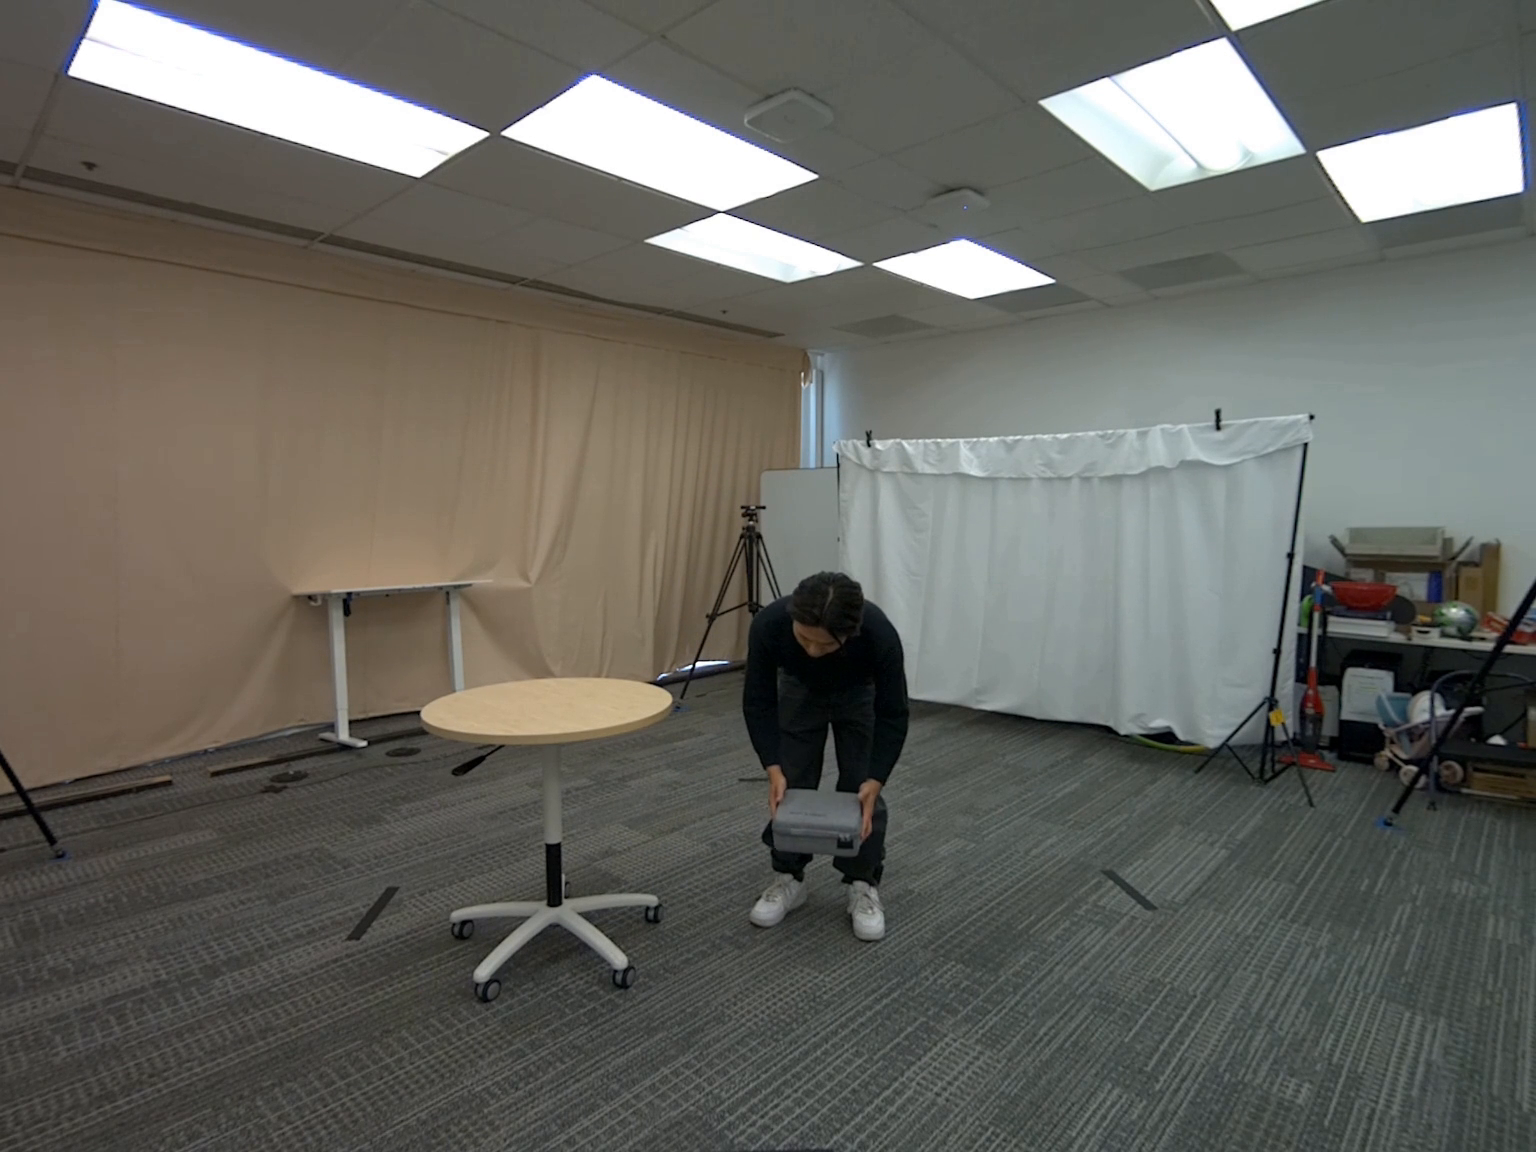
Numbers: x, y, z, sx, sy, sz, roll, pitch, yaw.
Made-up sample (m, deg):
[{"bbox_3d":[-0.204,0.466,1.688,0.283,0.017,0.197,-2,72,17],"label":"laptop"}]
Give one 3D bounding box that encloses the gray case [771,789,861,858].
[{"bbox_3d":[0.152,0.731,2.526,0.260,0.104,0.258,0,7,11],"label":"gray case"}]
